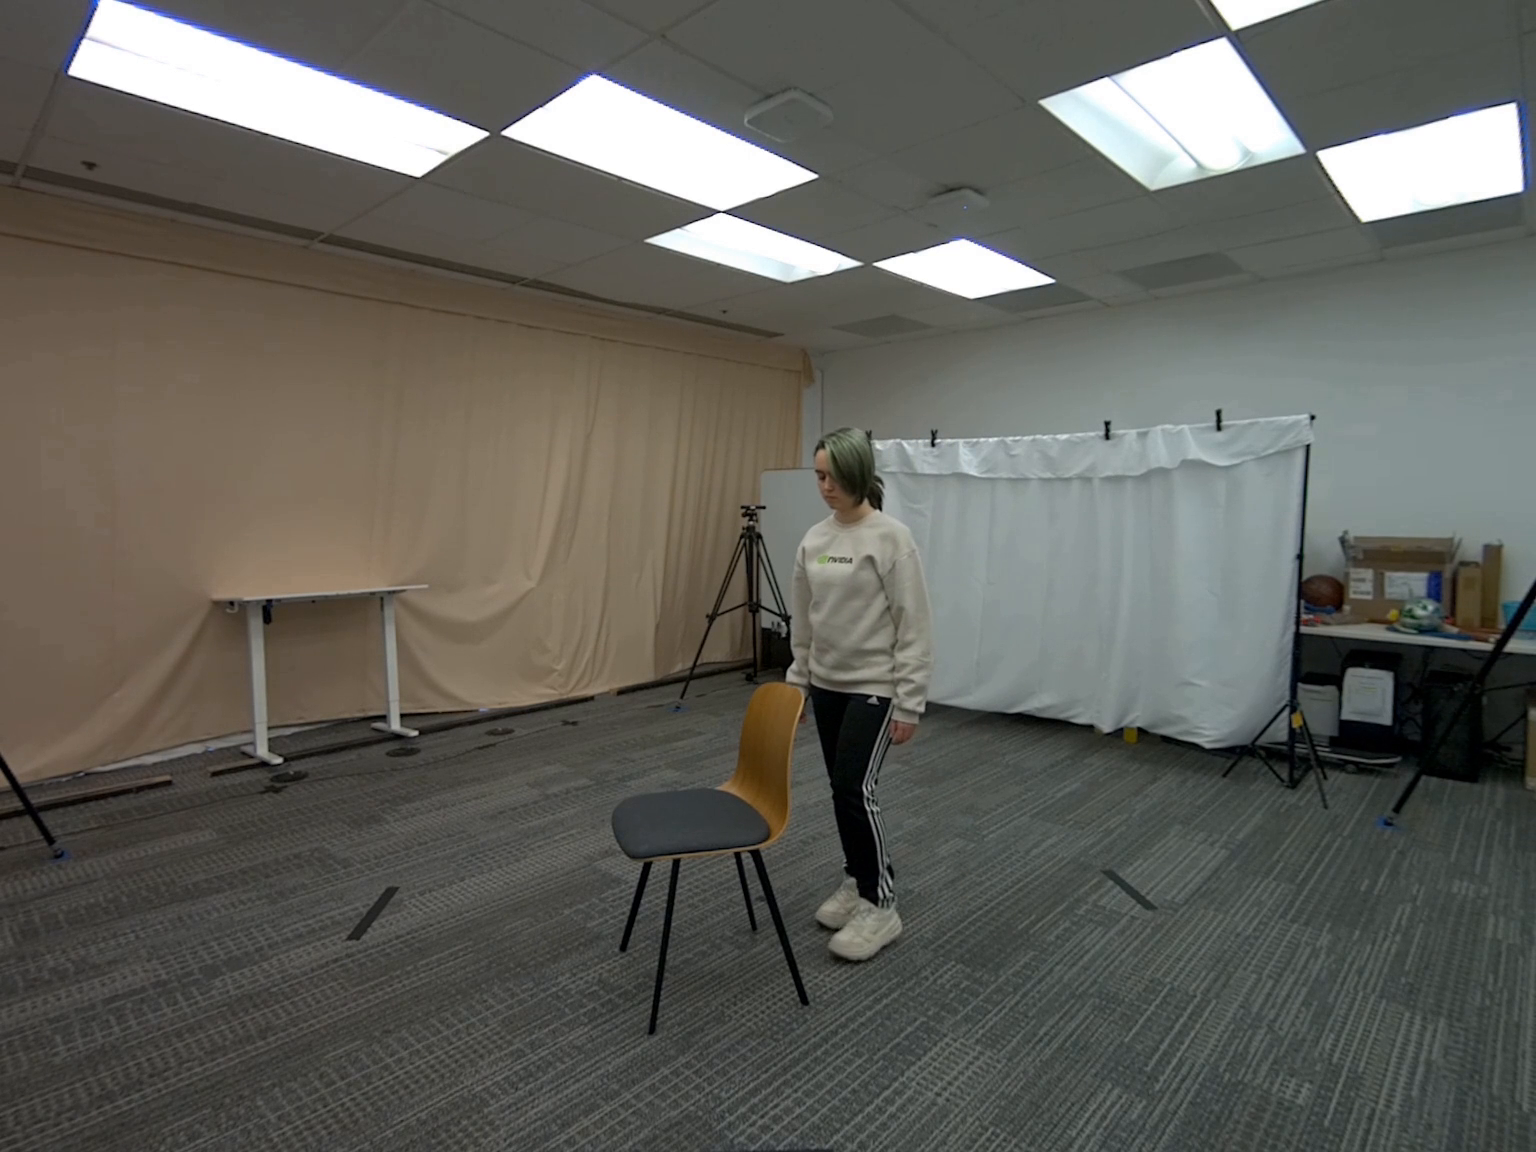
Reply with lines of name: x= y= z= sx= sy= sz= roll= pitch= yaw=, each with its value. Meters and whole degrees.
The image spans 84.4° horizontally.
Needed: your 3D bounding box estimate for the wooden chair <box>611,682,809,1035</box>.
wooden chair: x=-0.182 y=0.765 z=2.463 sx=0.513 sy=0.876 sz=0.488 roll=3 pitch=2 yaw=-19
